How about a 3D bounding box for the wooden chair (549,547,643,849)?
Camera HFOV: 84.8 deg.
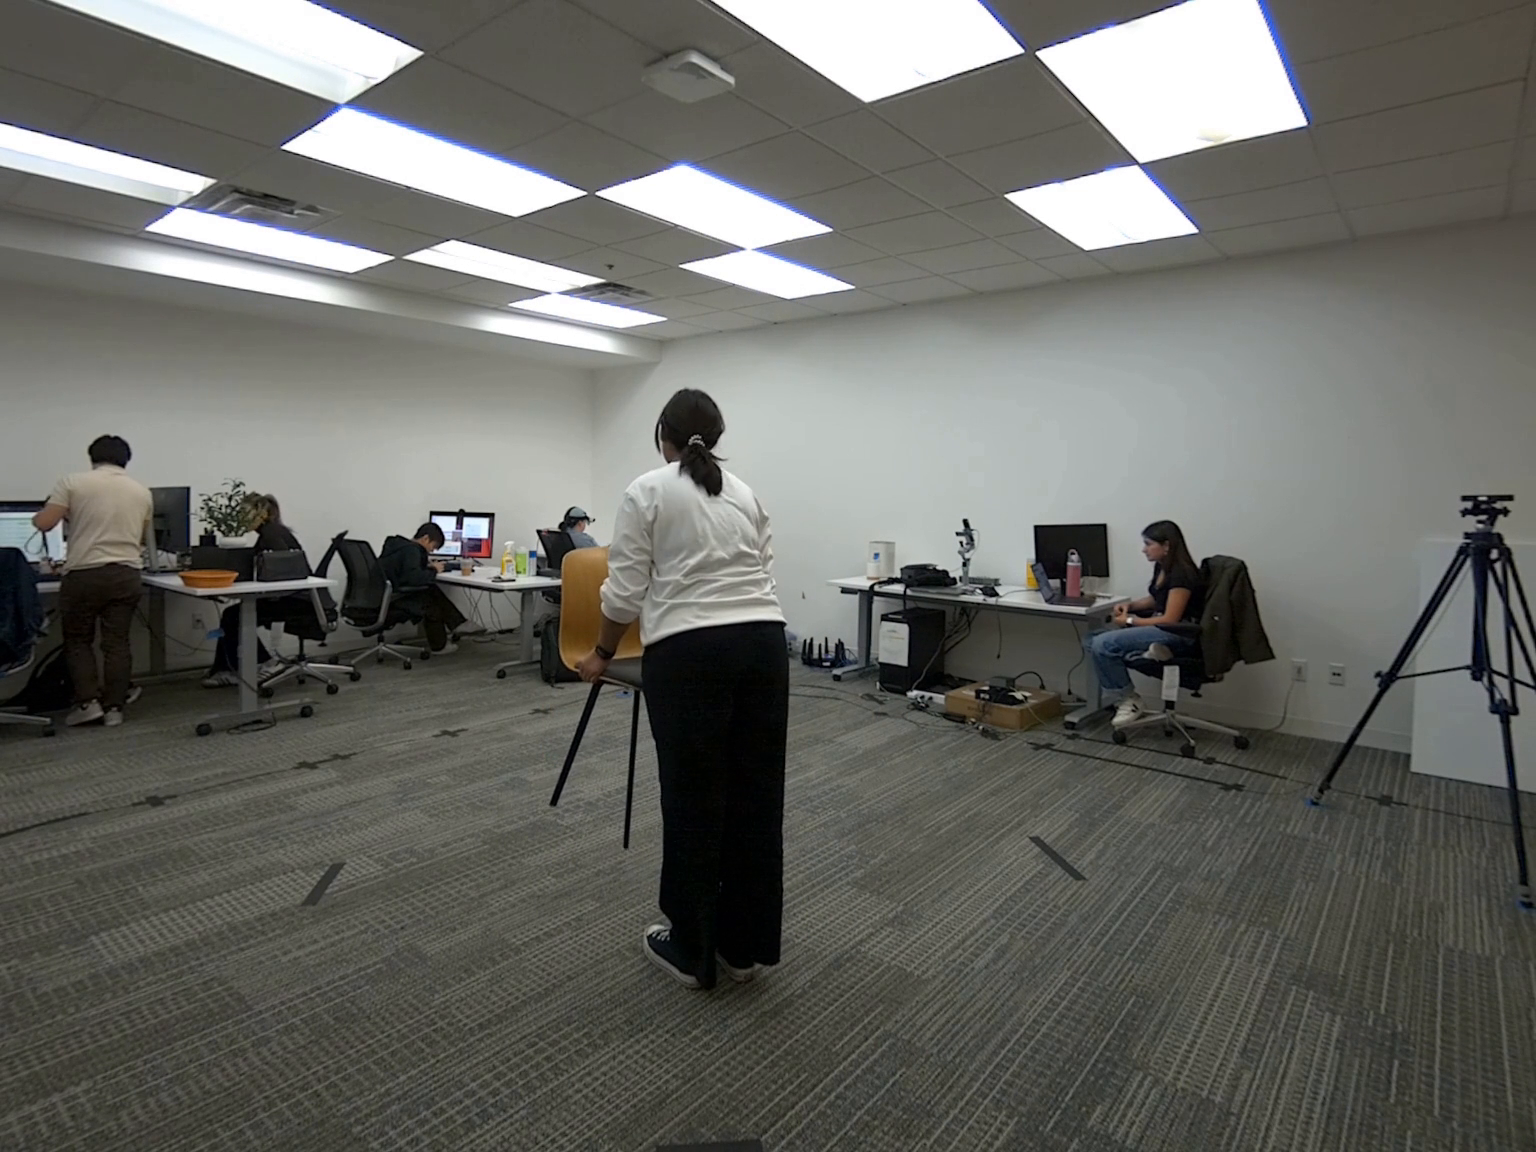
[{"bbox_3d":[-0.389,0.345,2.737,0.463,0.879,0.539,0,-2,-41],"label":"wooden chair"}]
